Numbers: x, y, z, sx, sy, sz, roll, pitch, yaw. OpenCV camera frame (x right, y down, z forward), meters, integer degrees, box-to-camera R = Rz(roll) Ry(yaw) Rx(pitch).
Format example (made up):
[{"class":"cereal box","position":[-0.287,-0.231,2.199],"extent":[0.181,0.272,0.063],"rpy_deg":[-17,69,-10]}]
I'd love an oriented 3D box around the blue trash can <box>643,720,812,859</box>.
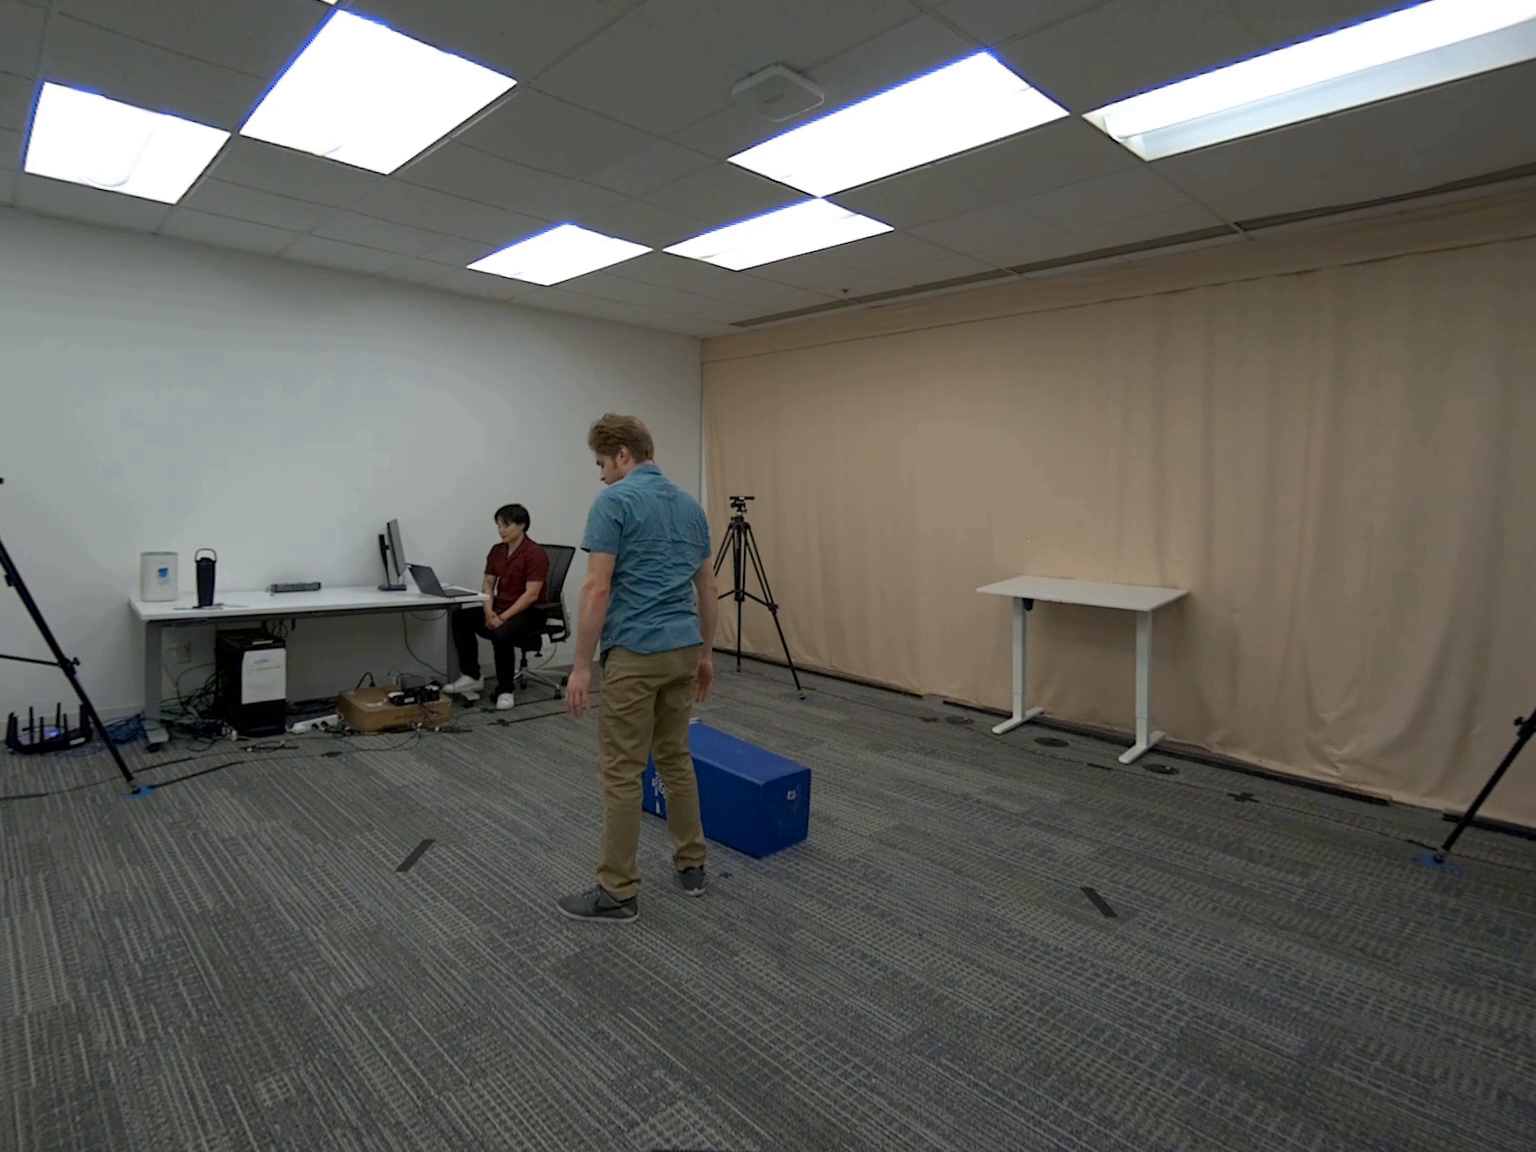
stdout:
[{"class":"blue trash can","position":[-0.190,0.901,3.589],"extent":[0.733,0.376,0.365],"rpy_deg":[10,8,43]}]
